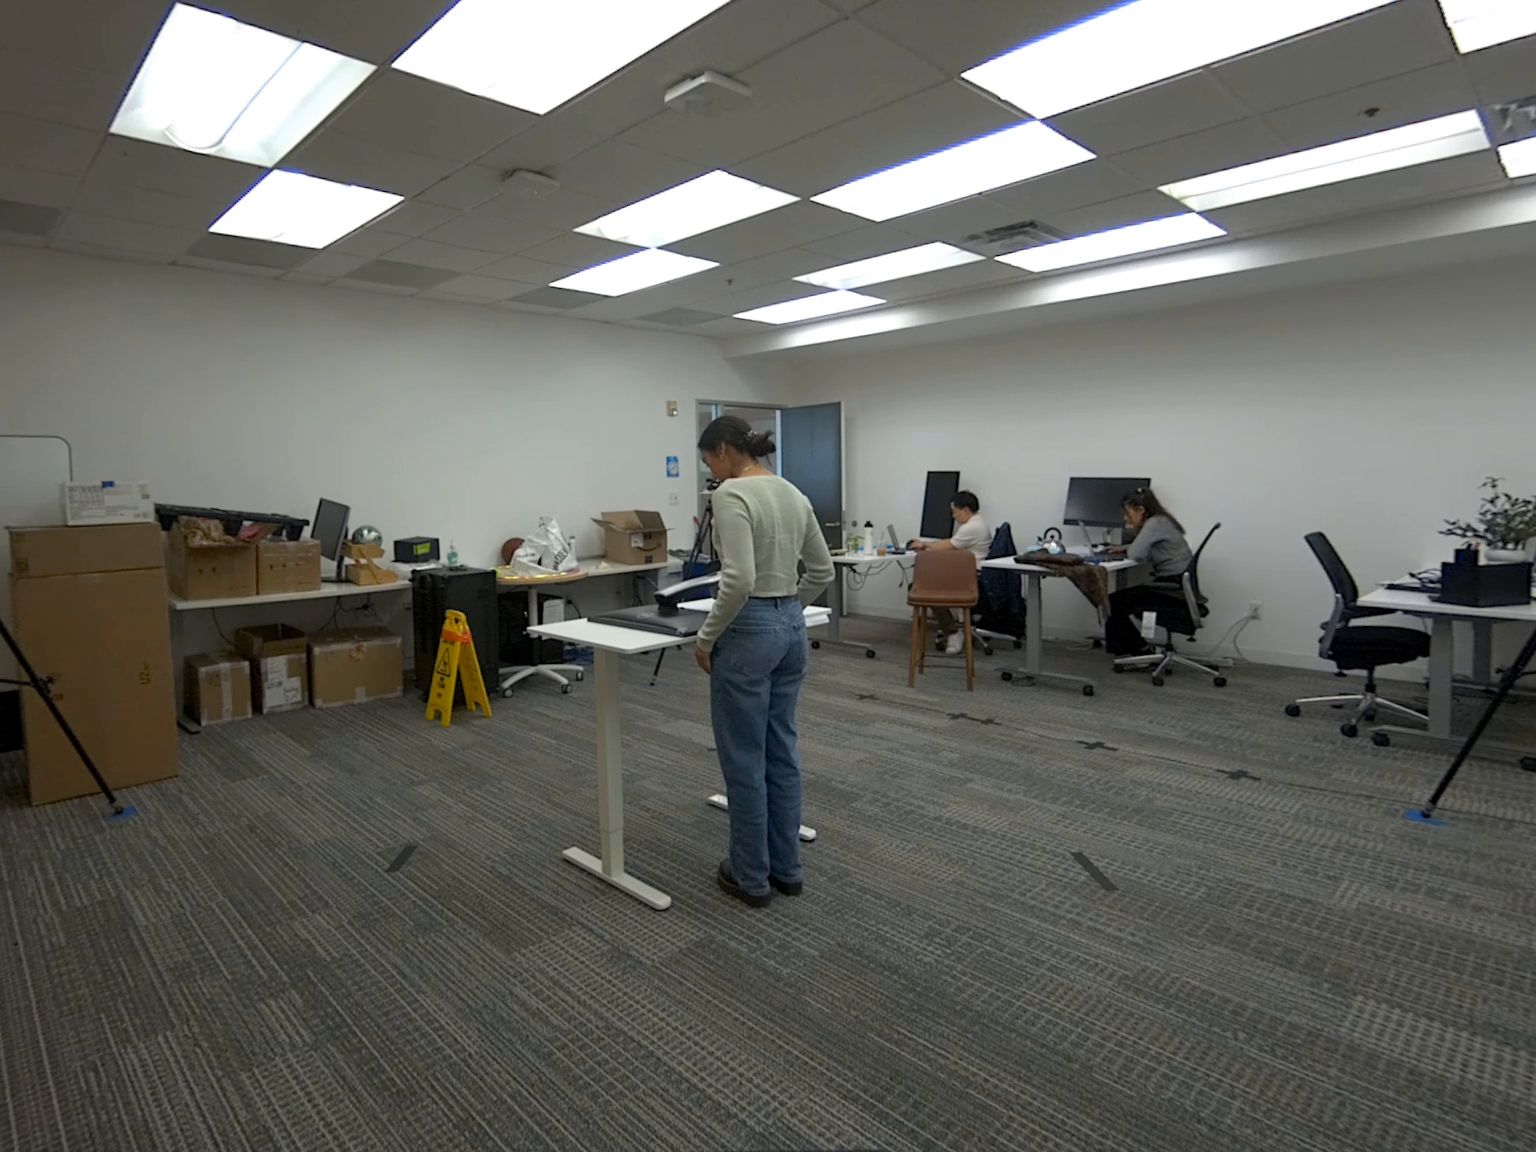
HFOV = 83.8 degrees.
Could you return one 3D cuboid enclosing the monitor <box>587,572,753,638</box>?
[{"bbox_3d":[-0.299,0.102,3.150,0.555,0.184,0.515,1,20,45],"label":"monitor"}]
